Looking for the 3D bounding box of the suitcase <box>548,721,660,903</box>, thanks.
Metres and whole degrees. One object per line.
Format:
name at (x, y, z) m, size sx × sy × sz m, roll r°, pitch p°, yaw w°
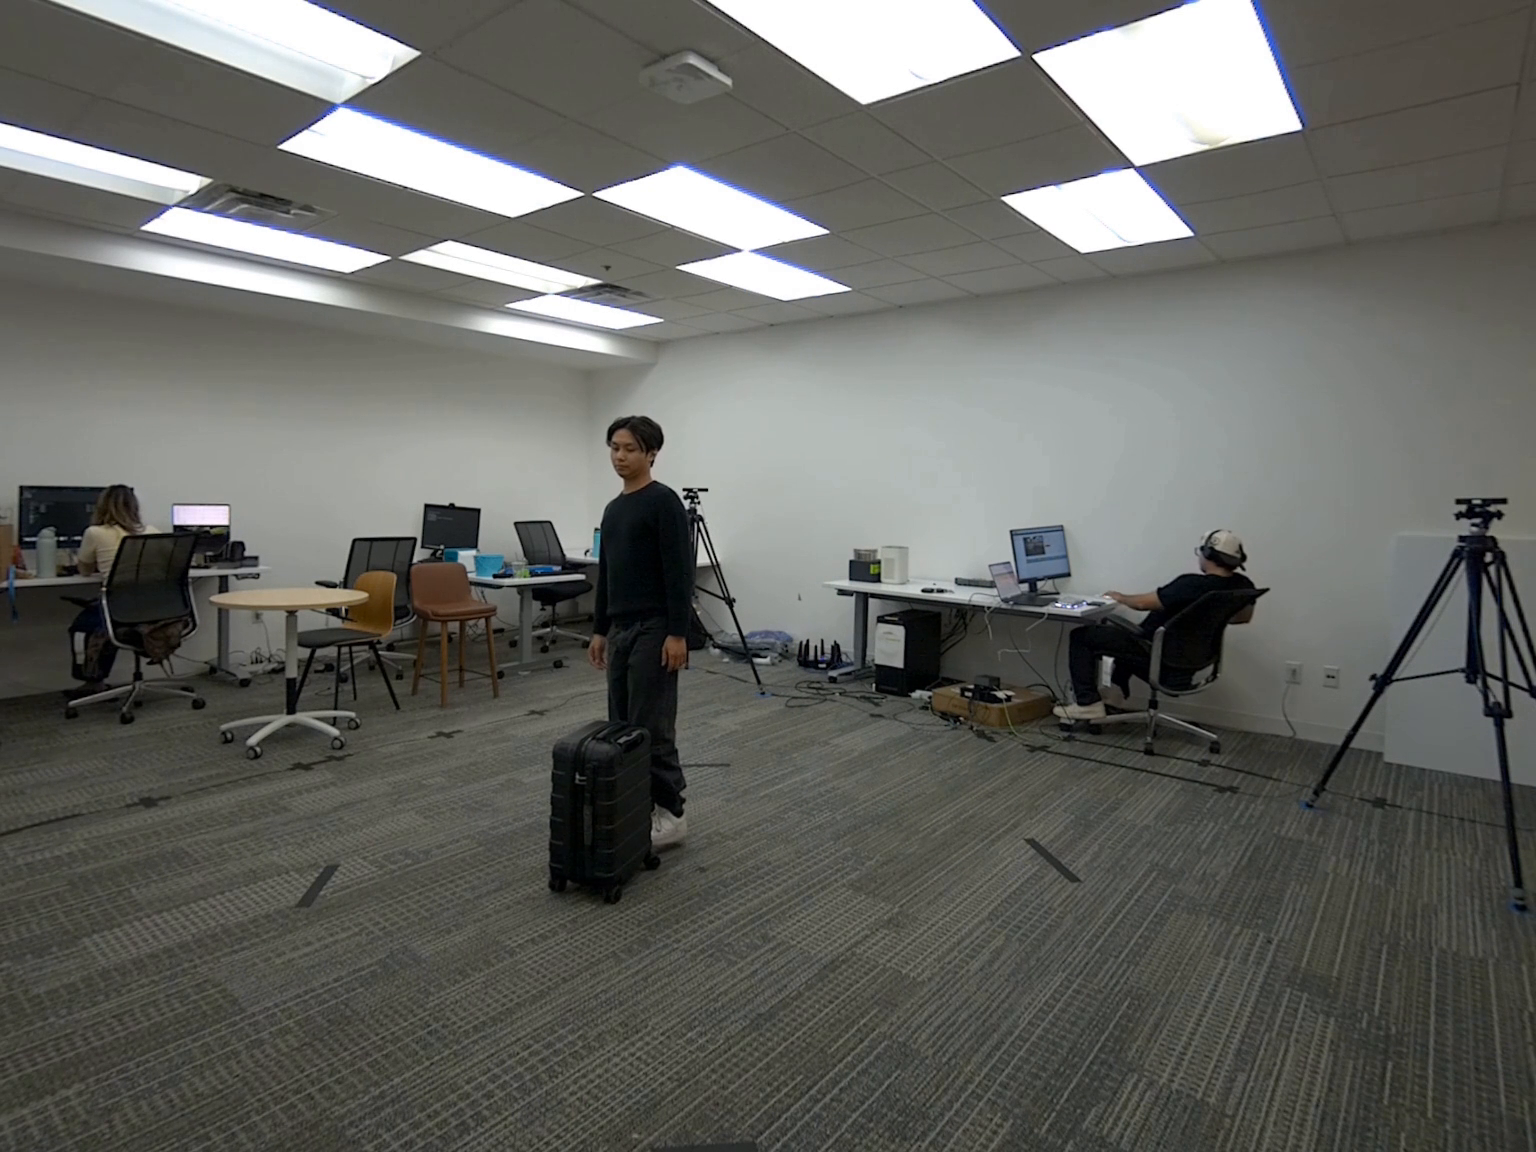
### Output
suitcase at (-0.598, 0.800, 2.988) m, size 0.253 × 0.547 × 0.369 m, roll 1°, pitch 4°, yaw 18°
